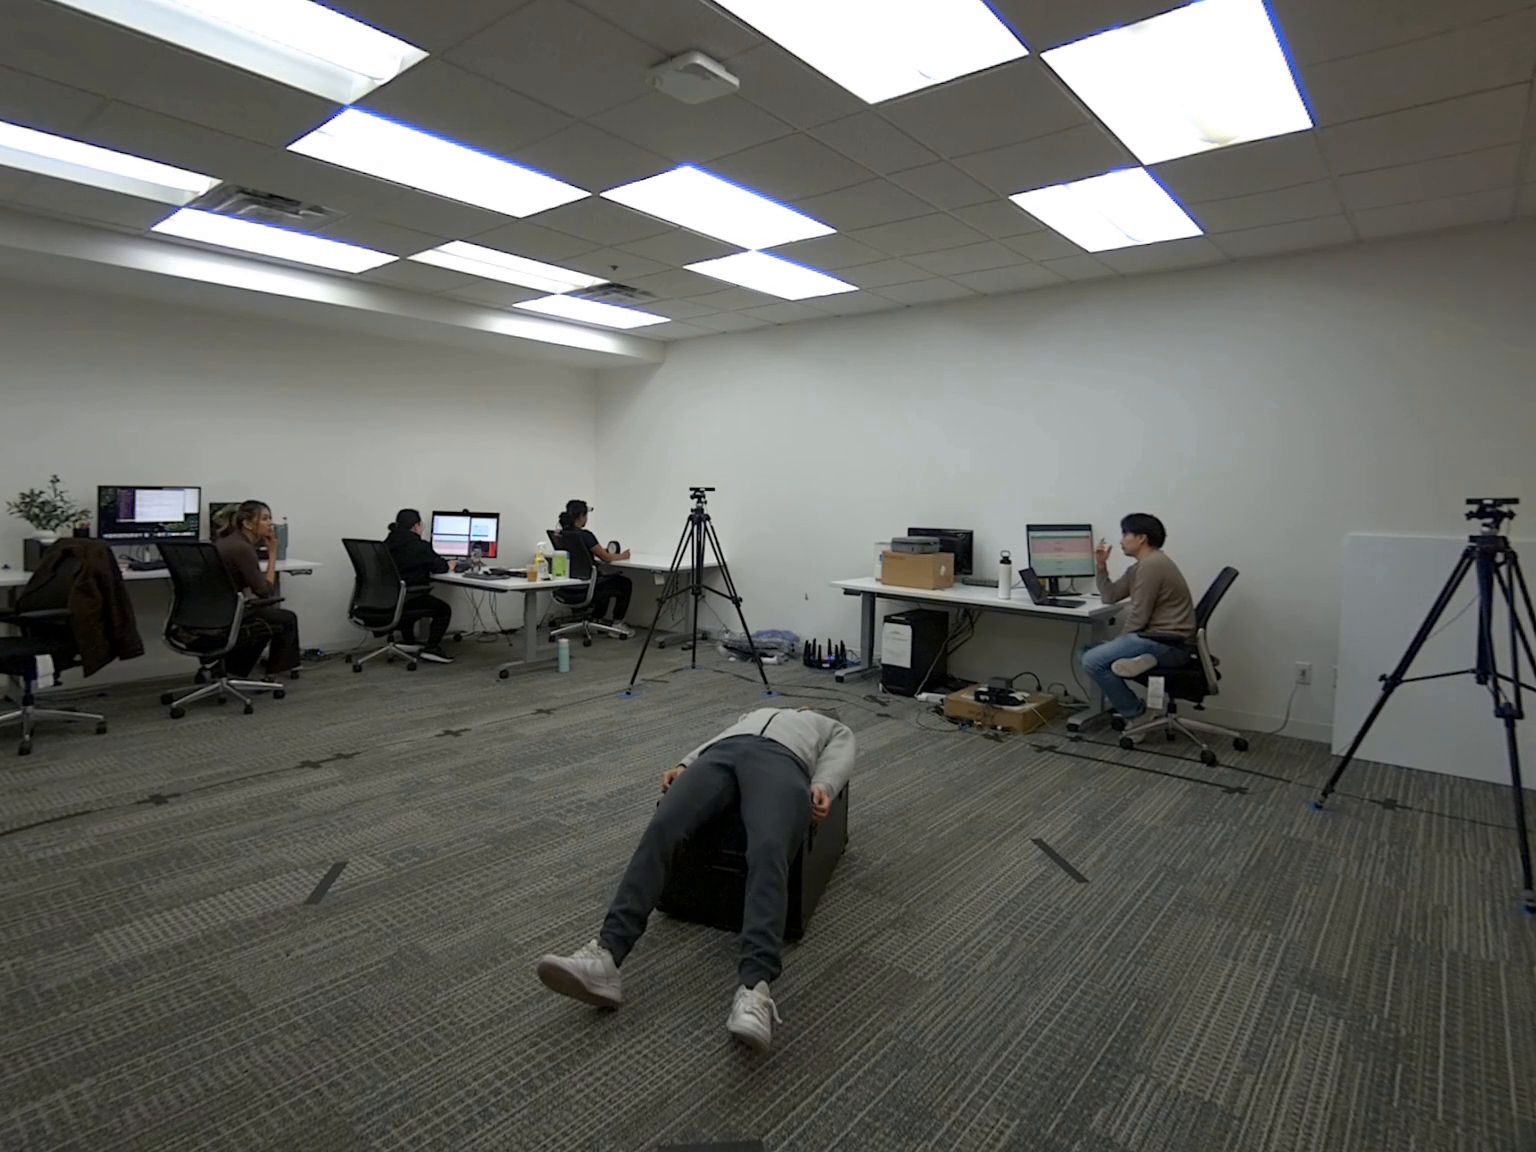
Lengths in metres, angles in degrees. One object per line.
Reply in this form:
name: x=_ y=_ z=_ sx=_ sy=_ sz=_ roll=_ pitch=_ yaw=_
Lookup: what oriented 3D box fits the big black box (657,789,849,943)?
big black box: x=-0.044 y=0.898 z=2.992 sx=0.532 sy=0.395 sz=0.847 roll=3 pitch=4 yaw=18
